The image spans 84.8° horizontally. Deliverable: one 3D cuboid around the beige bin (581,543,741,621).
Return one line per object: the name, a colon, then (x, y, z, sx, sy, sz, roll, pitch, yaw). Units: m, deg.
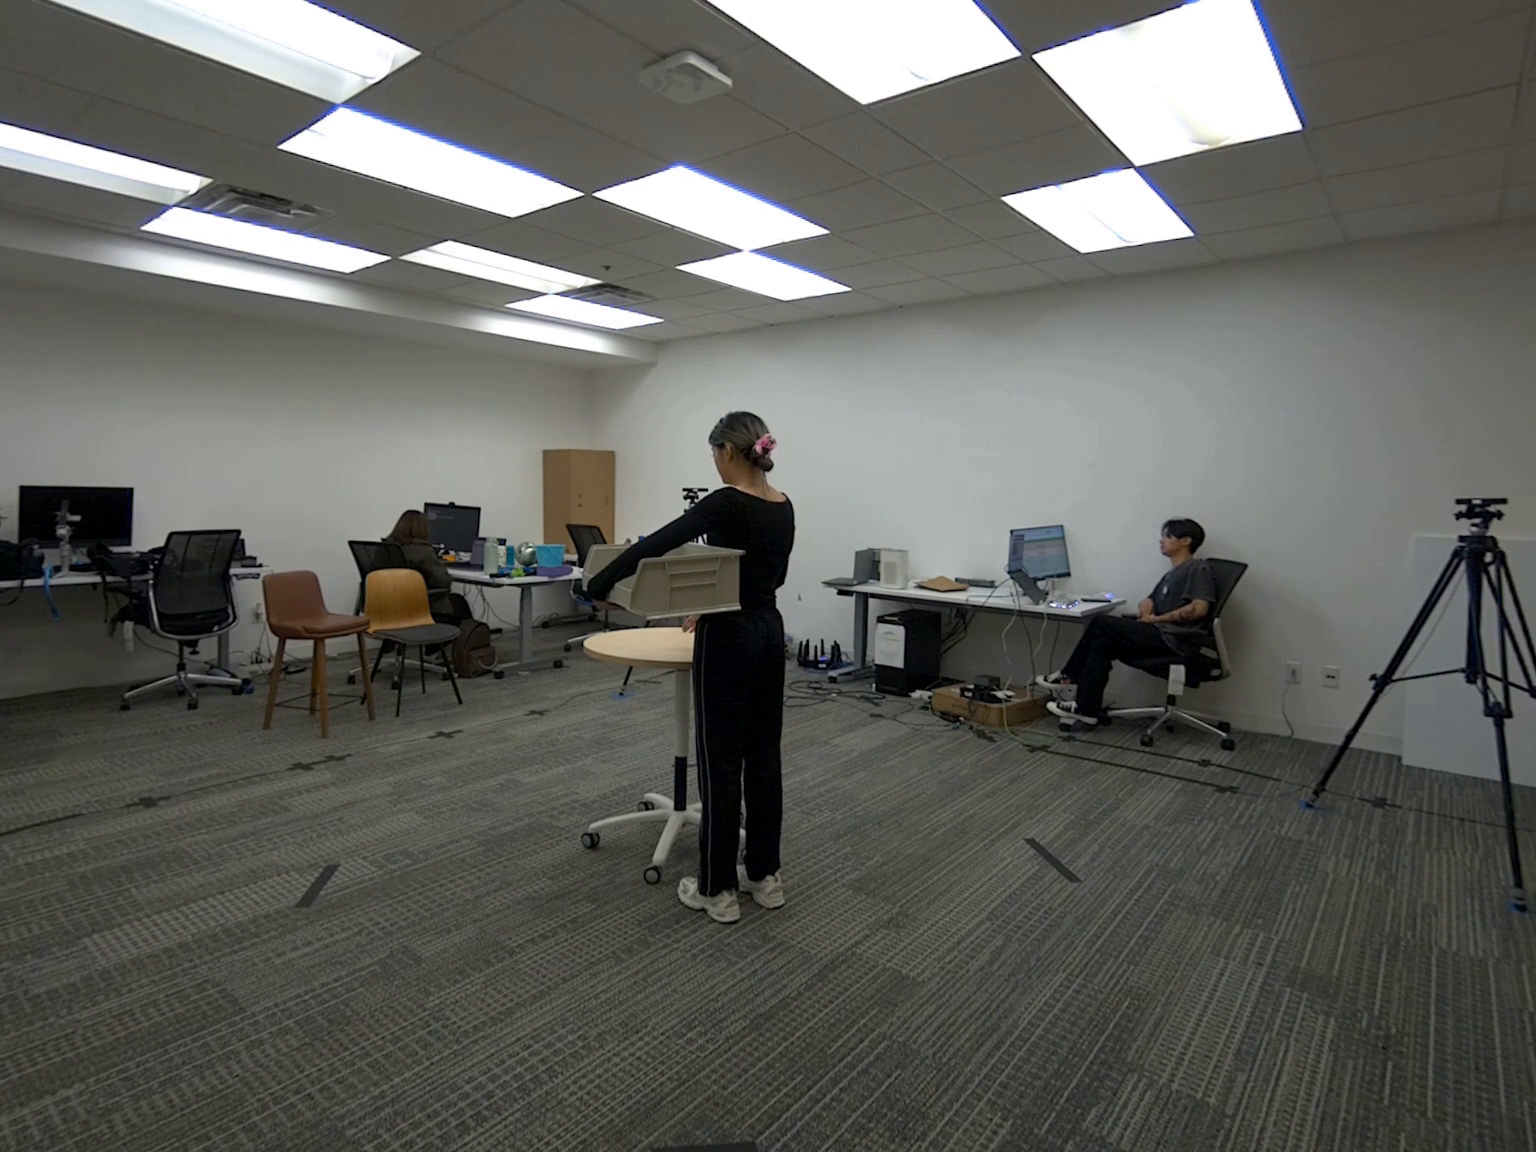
beige bin: (-0.356, 0.005, 2.667, 0.368, 0.188, 0.435, -4, 8, -30)
